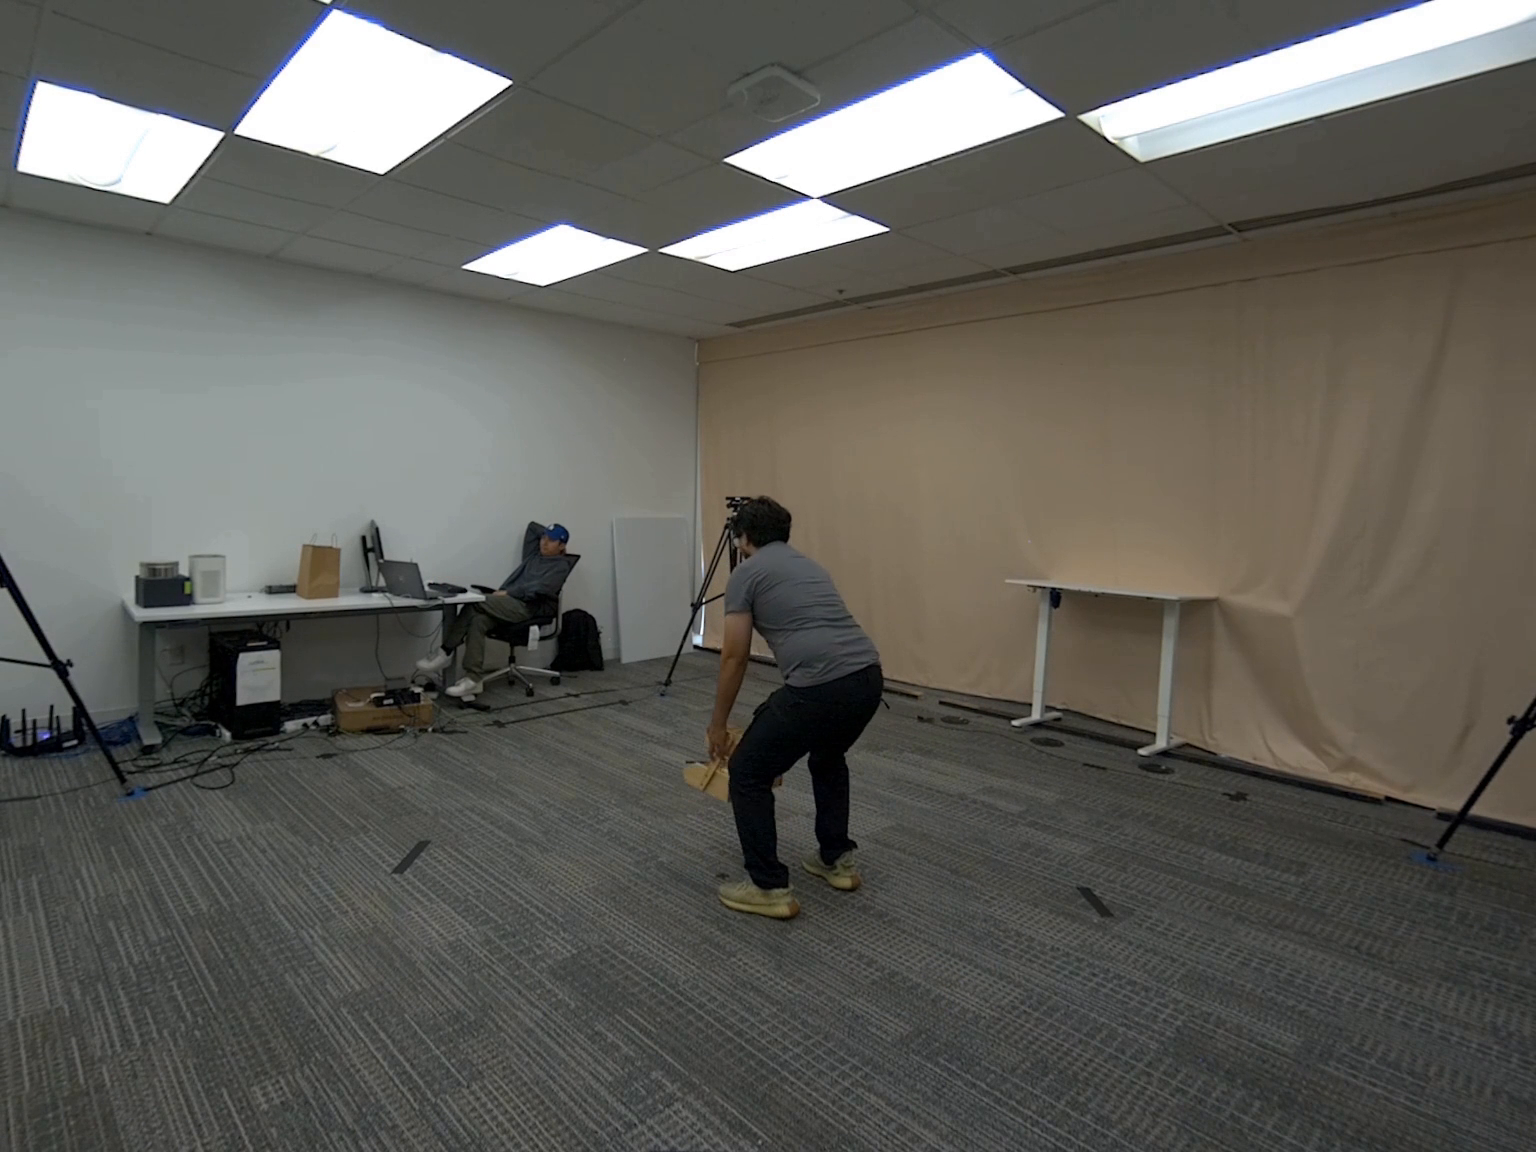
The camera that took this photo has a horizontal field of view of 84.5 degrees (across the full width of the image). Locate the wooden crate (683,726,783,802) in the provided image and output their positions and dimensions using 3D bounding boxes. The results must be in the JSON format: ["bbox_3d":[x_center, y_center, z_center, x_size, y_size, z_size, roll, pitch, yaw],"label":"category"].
[{"bbox_3d":[-0.107,0.675,3.236,0.310,0.272,0.317,13,9,42],"label":"wooden crate"}]
